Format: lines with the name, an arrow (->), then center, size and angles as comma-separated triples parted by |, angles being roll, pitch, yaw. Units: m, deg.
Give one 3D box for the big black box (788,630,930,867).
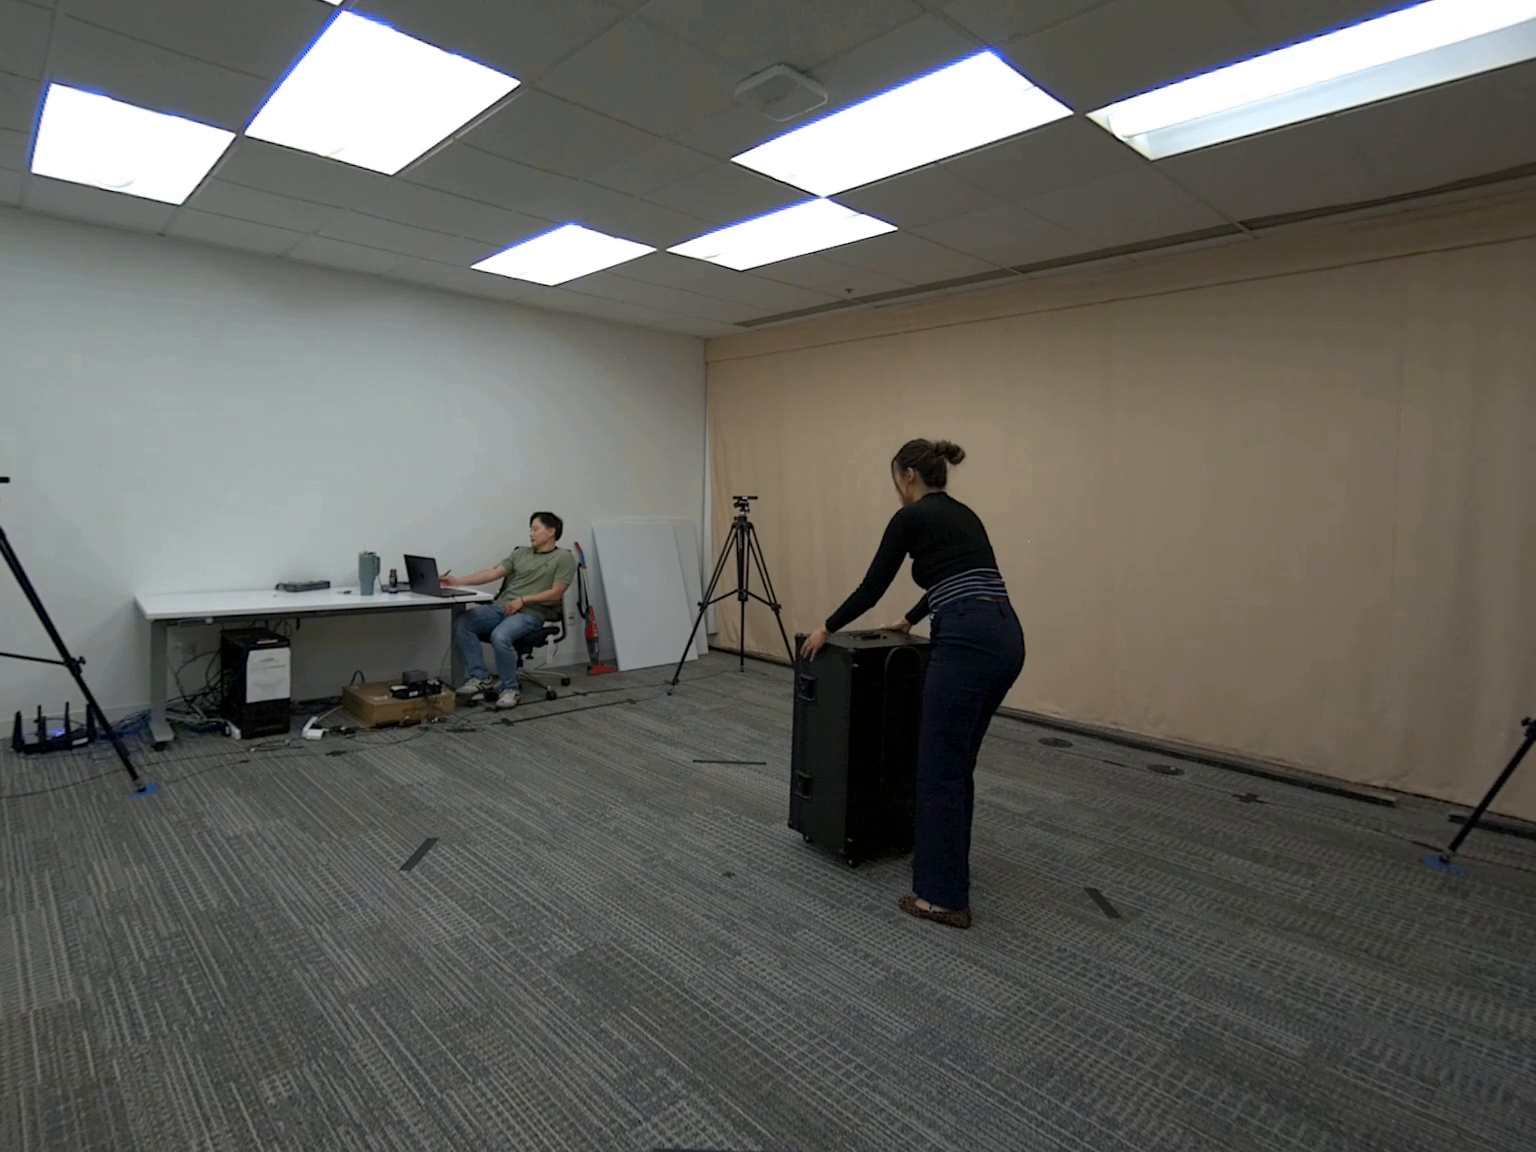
big black box -> 0.395, 0.669, 3.346 | 0.510, 0.858, 0.406 | 0, 6, -32
